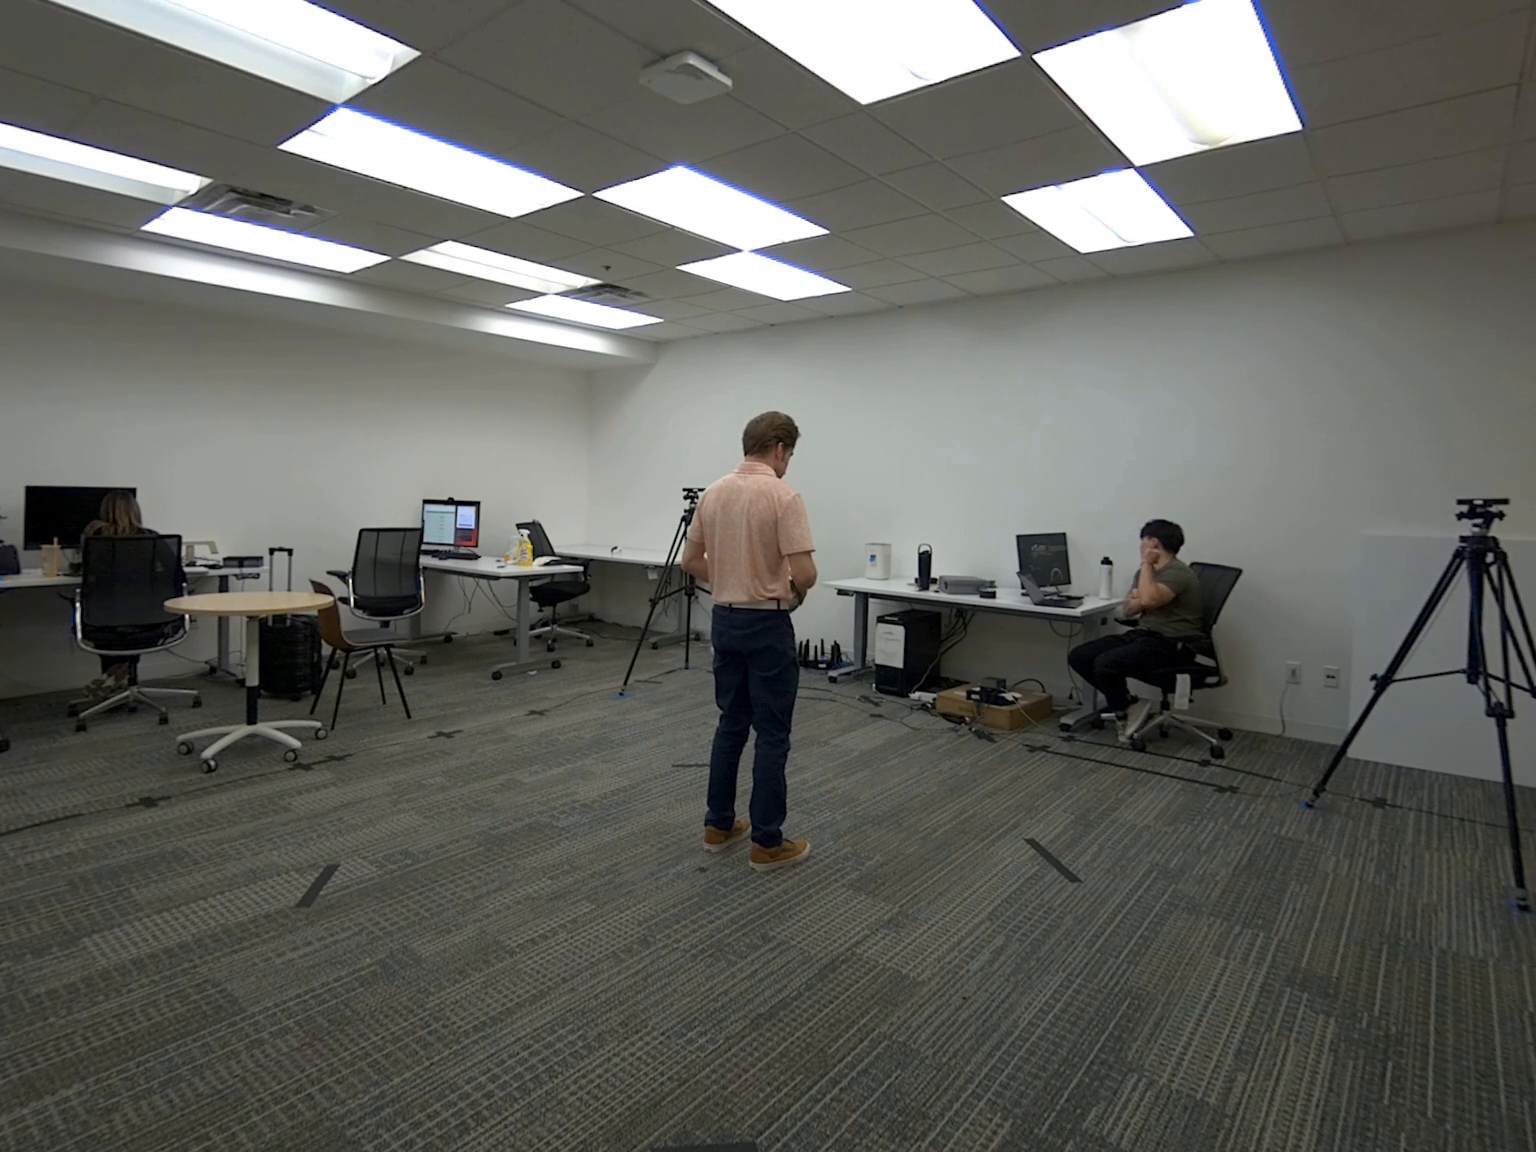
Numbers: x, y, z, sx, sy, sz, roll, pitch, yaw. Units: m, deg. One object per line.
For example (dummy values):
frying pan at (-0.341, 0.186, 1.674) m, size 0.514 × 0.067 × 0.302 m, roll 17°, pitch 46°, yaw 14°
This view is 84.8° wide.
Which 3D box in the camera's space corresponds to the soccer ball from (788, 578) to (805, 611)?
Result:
soccer ball at (0.048, 0.063, 3.446) m, size 0.187 × 0.187 × 0.188 m, roll 1°, pitch 4°, yaw -2°
